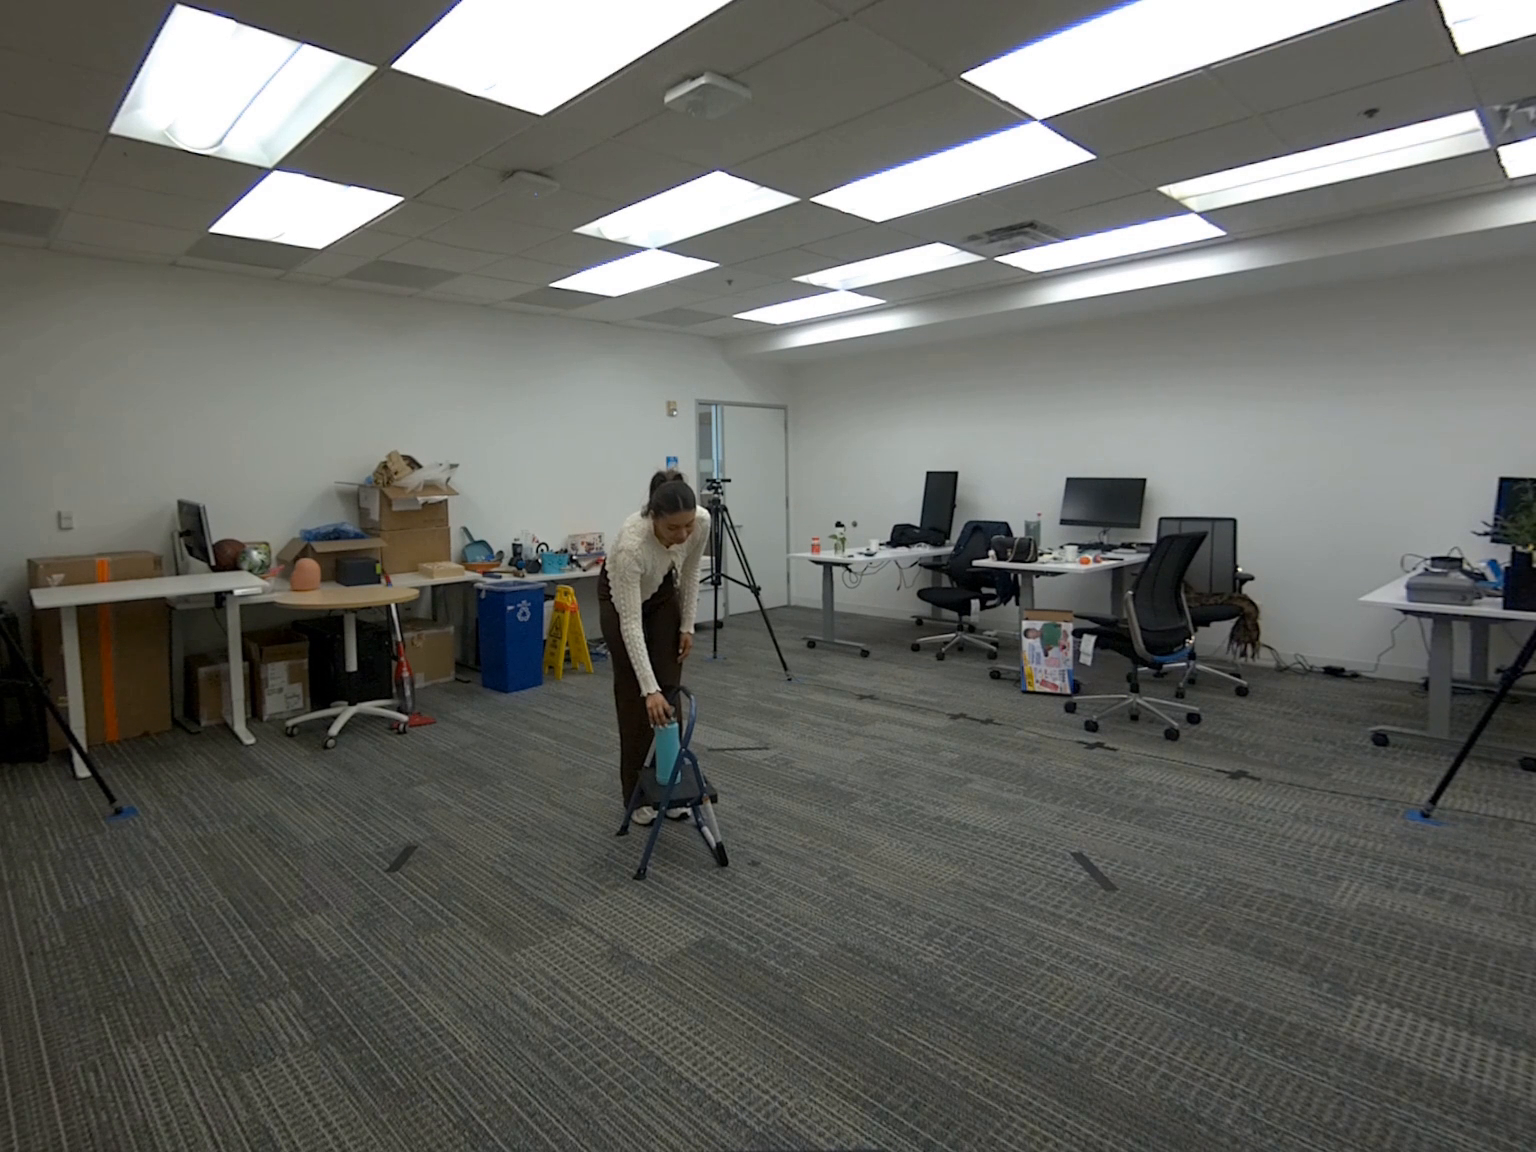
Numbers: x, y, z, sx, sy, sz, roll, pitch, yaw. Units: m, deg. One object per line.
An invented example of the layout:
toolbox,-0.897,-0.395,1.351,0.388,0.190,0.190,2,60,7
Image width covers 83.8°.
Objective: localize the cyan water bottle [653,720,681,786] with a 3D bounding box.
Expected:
cyan water bottle,-0.383,0.638,3.219,0.092,0.283,0.092,-2,0,-2
